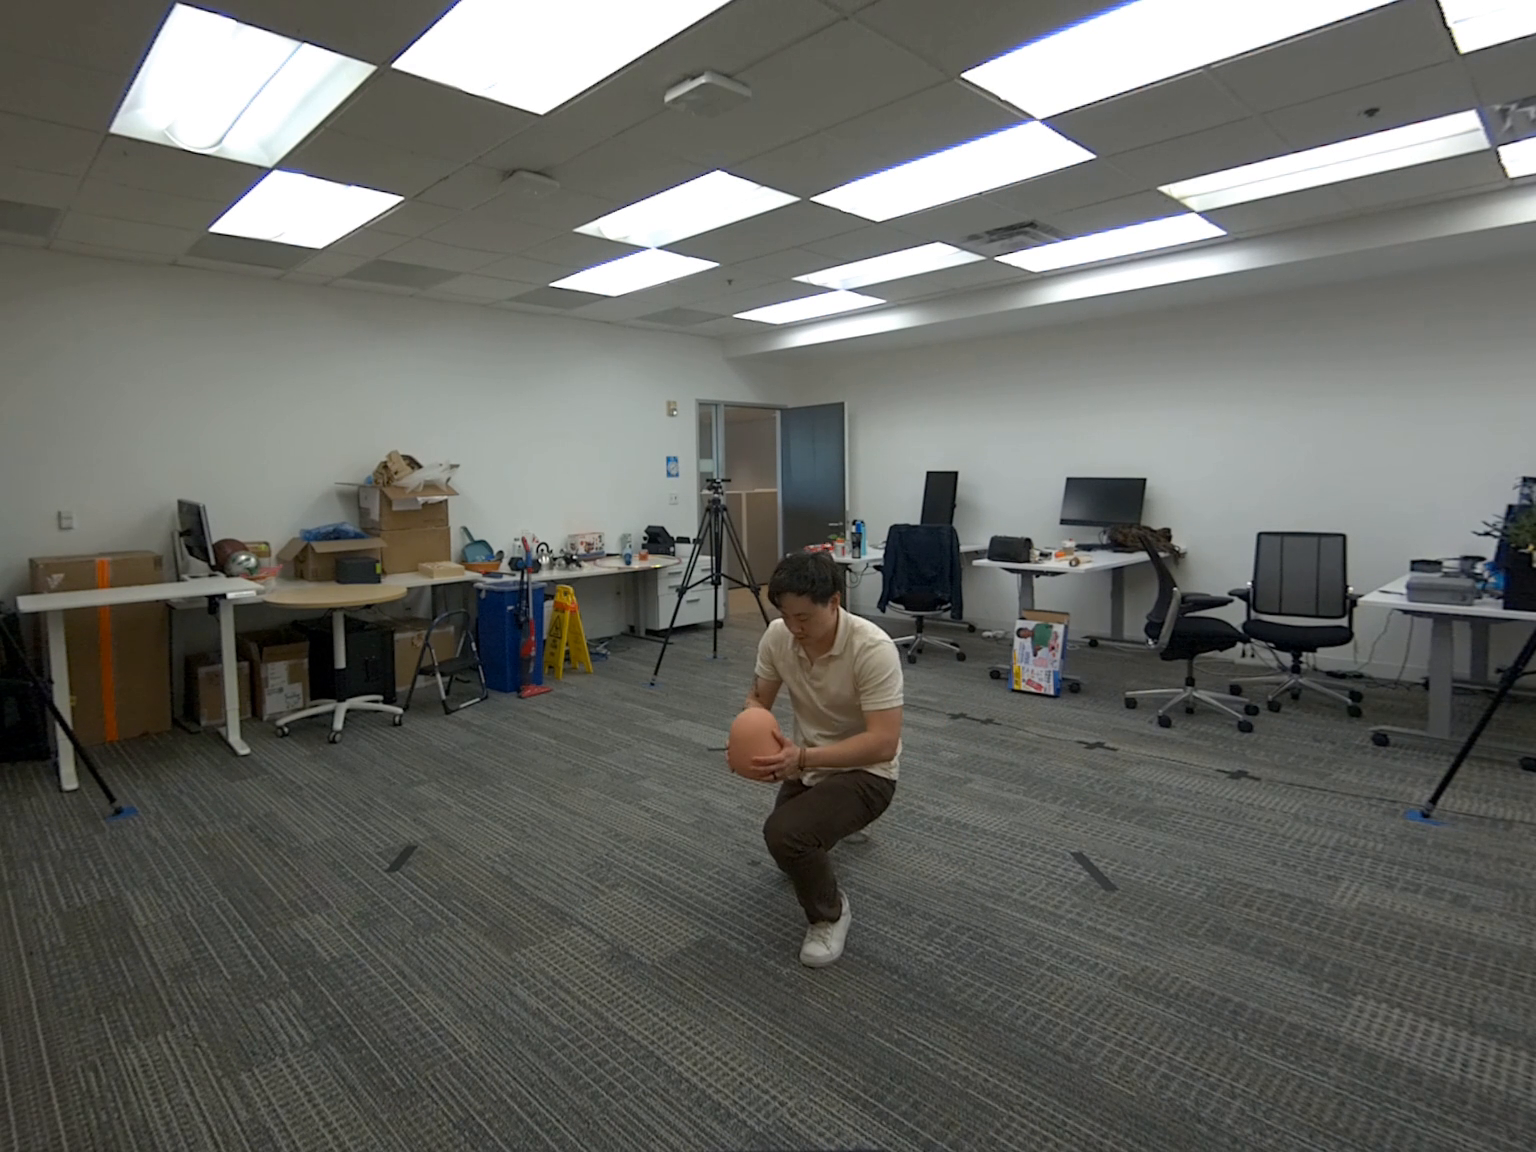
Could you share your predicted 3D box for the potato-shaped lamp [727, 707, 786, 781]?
[{"bbox_3d":[0.000,0.472,2.444,0.168,0.199,0.167,-16,-6,40],"label":"potato-shaped lamp"}]
